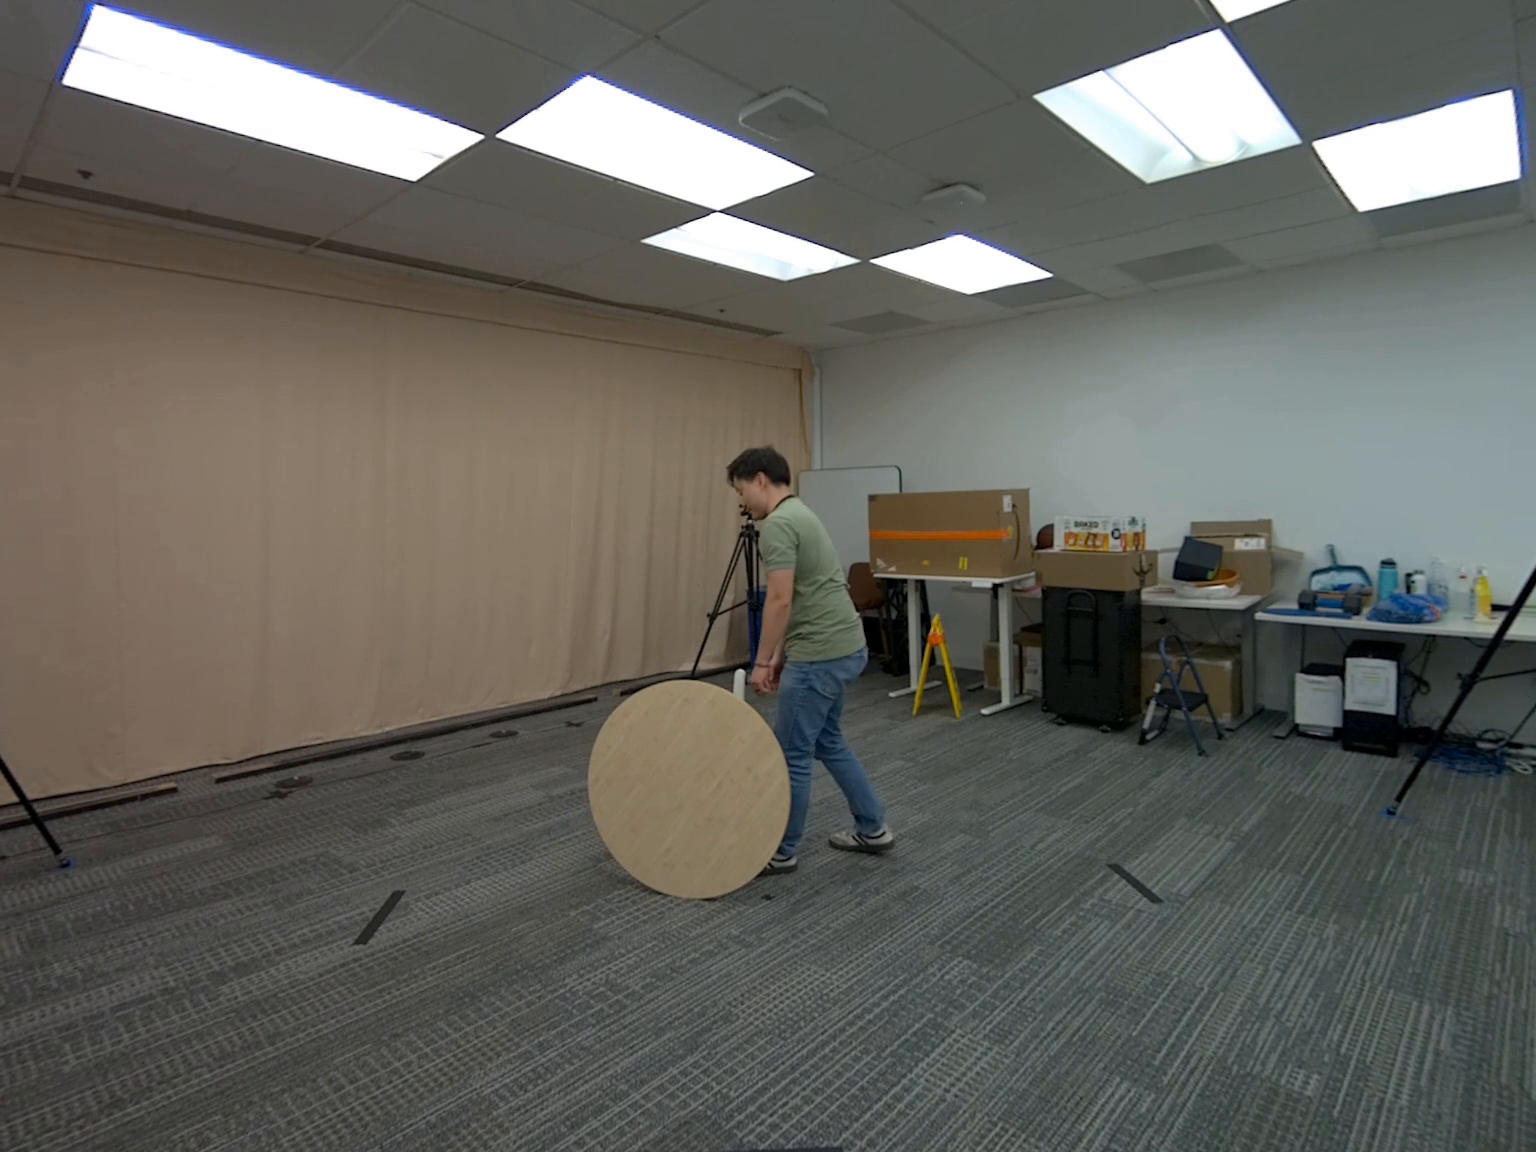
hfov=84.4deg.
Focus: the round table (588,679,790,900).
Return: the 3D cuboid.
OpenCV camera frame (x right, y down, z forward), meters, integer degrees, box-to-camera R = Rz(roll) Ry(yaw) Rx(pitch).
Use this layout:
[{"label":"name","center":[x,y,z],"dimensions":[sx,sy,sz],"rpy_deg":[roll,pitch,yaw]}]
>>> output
[{"label":"round table","center":[-0.206,0.765,3.384],"dimensions":[0.777,0.765,0.780],"rpy_deg":[0,-1,15]}]
